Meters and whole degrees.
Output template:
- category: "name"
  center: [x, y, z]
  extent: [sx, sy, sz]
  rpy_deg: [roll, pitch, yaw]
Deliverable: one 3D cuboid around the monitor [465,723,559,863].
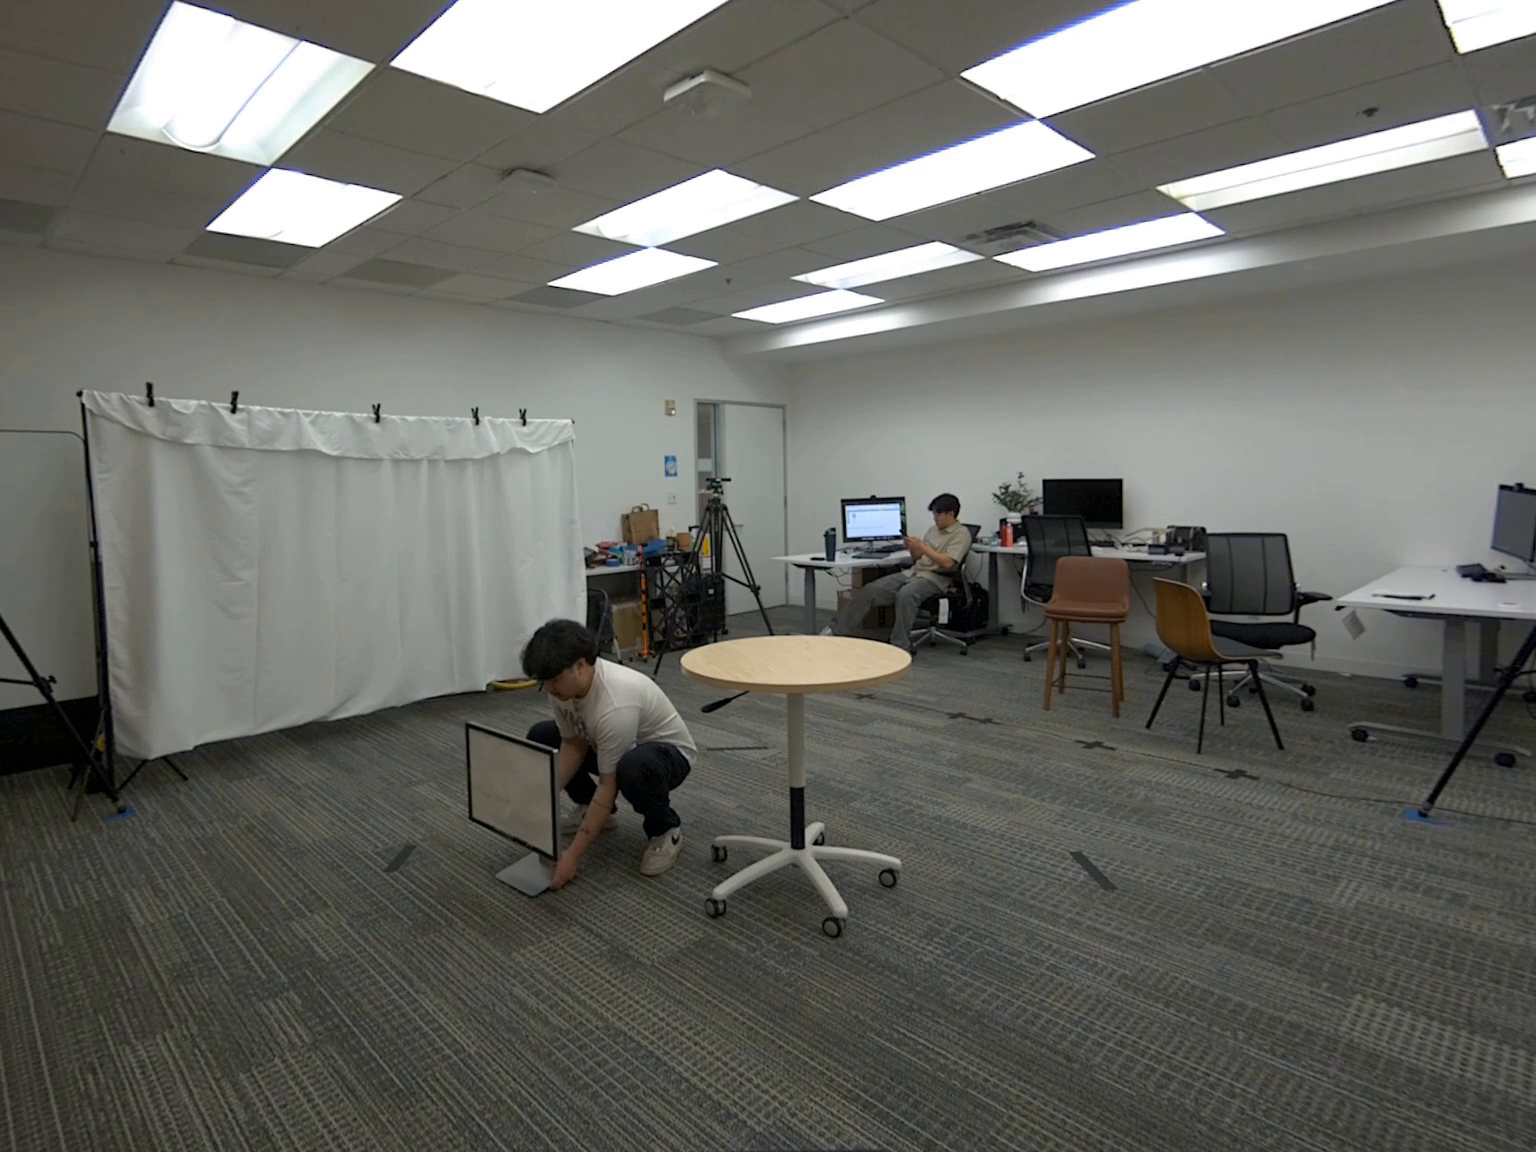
- category: "monitor"
  center: [-0.833, 0.804, 3.001]
  extent: [0.582, 0.551, 0.205]
  rpy_deg: [2, 9, 44]
